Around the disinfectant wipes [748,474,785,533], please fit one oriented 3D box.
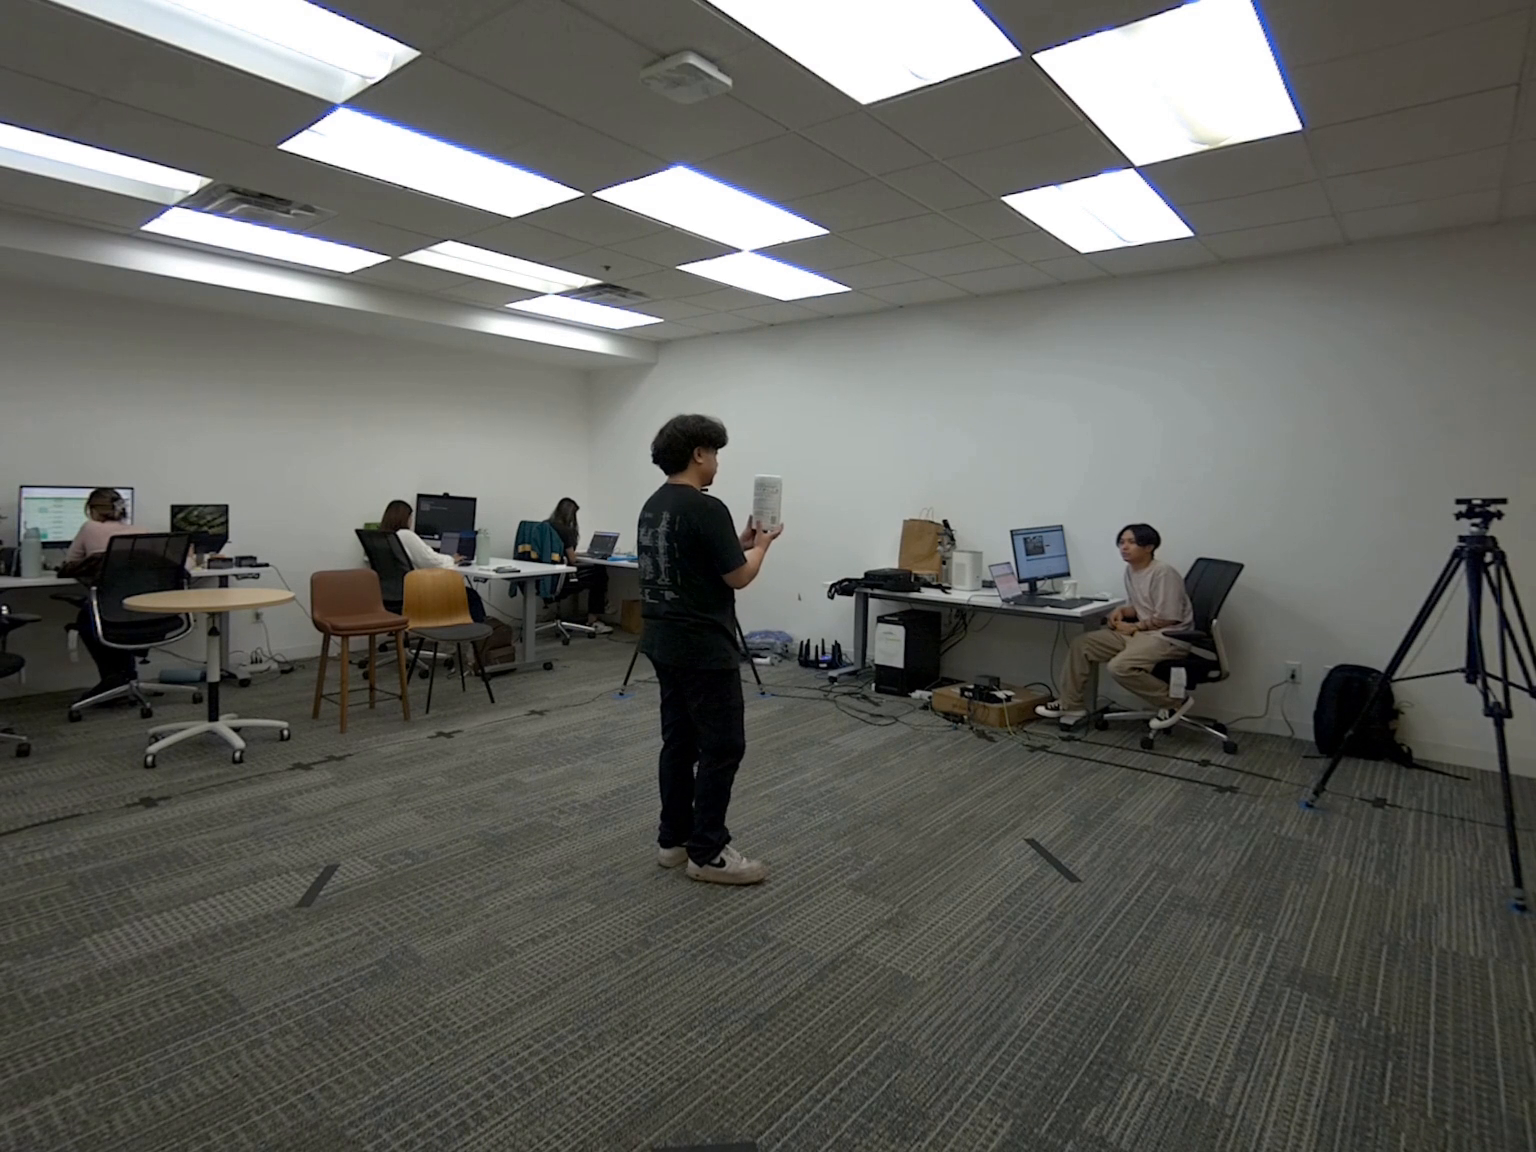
[{"bbox_3d":[-0.009,-0.287,3.323,0.117,0.217,0.118,4,3,-2],"label":"disinfectant wipes"}]
